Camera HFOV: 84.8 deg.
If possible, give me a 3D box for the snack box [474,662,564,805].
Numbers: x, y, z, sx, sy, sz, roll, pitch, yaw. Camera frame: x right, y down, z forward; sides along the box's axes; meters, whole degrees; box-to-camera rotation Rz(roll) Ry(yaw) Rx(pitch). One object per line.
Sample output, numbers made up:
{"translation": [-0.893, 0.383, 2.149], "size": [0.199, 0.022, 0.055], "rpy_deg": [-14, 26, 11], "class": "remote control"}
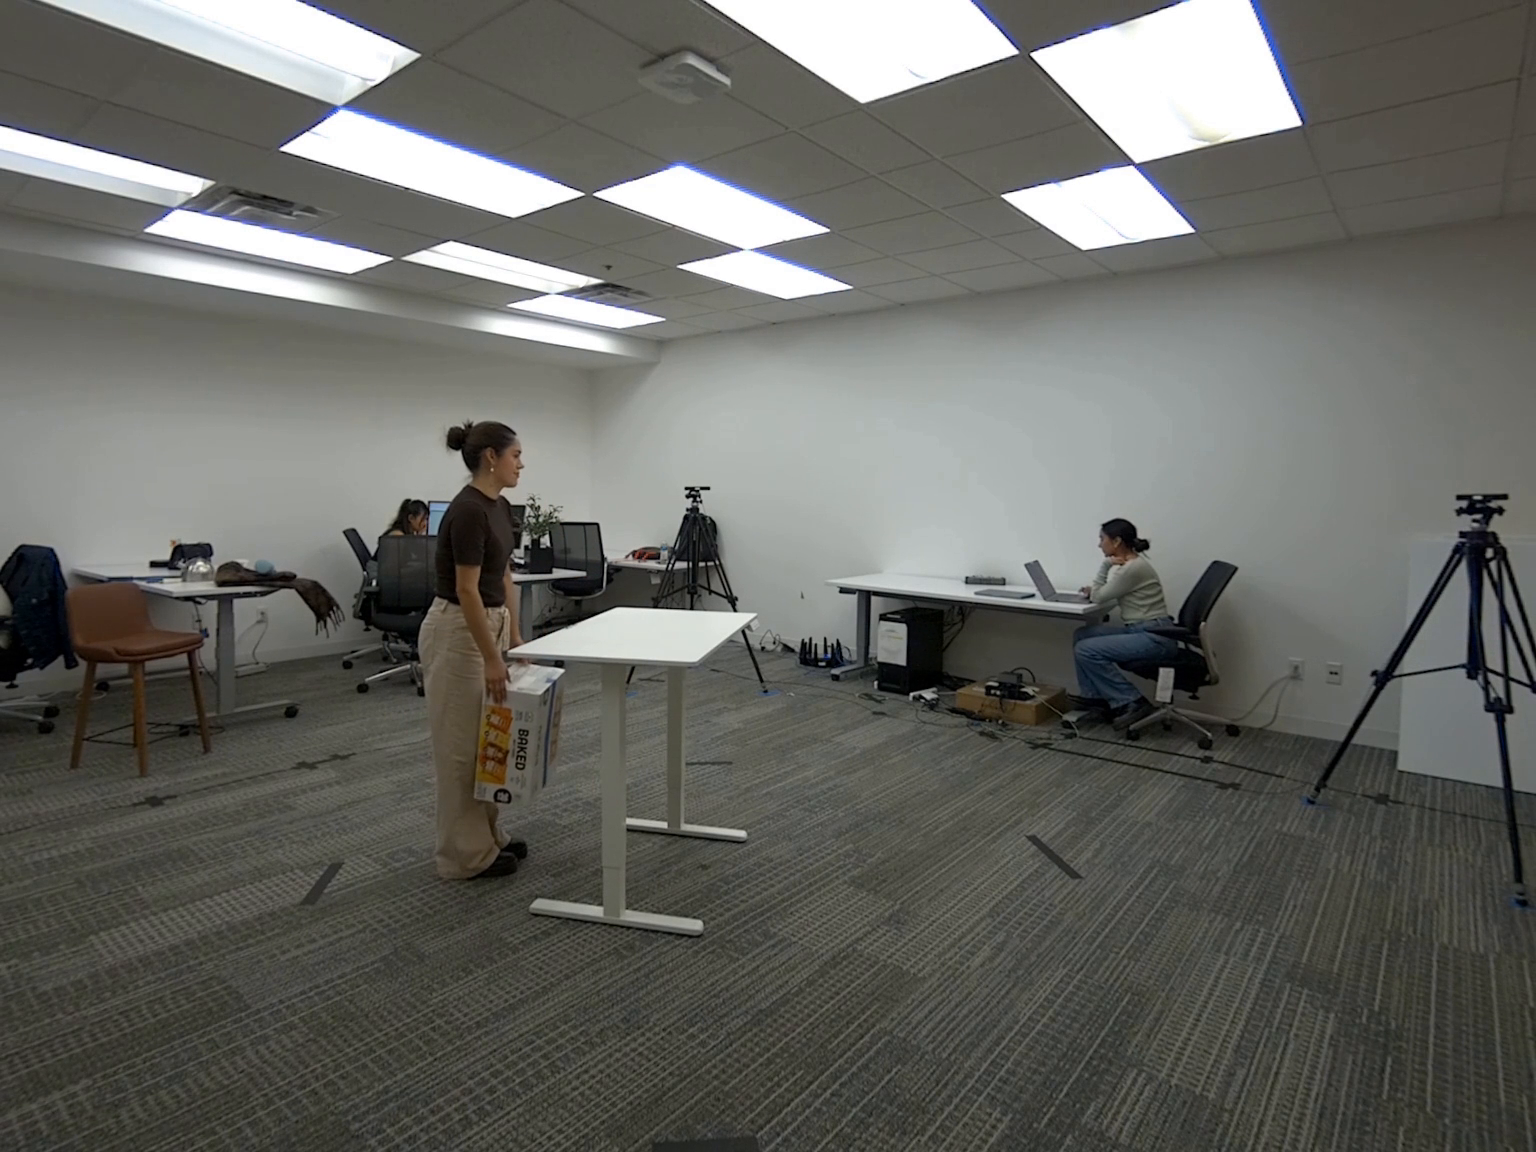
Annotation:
{"translation": [-0.913, 0.569, 3.087], "size": [0.206, 0.403, 0.341], "rpy_deg": [9, 7, 2], "class": "snack box"}
